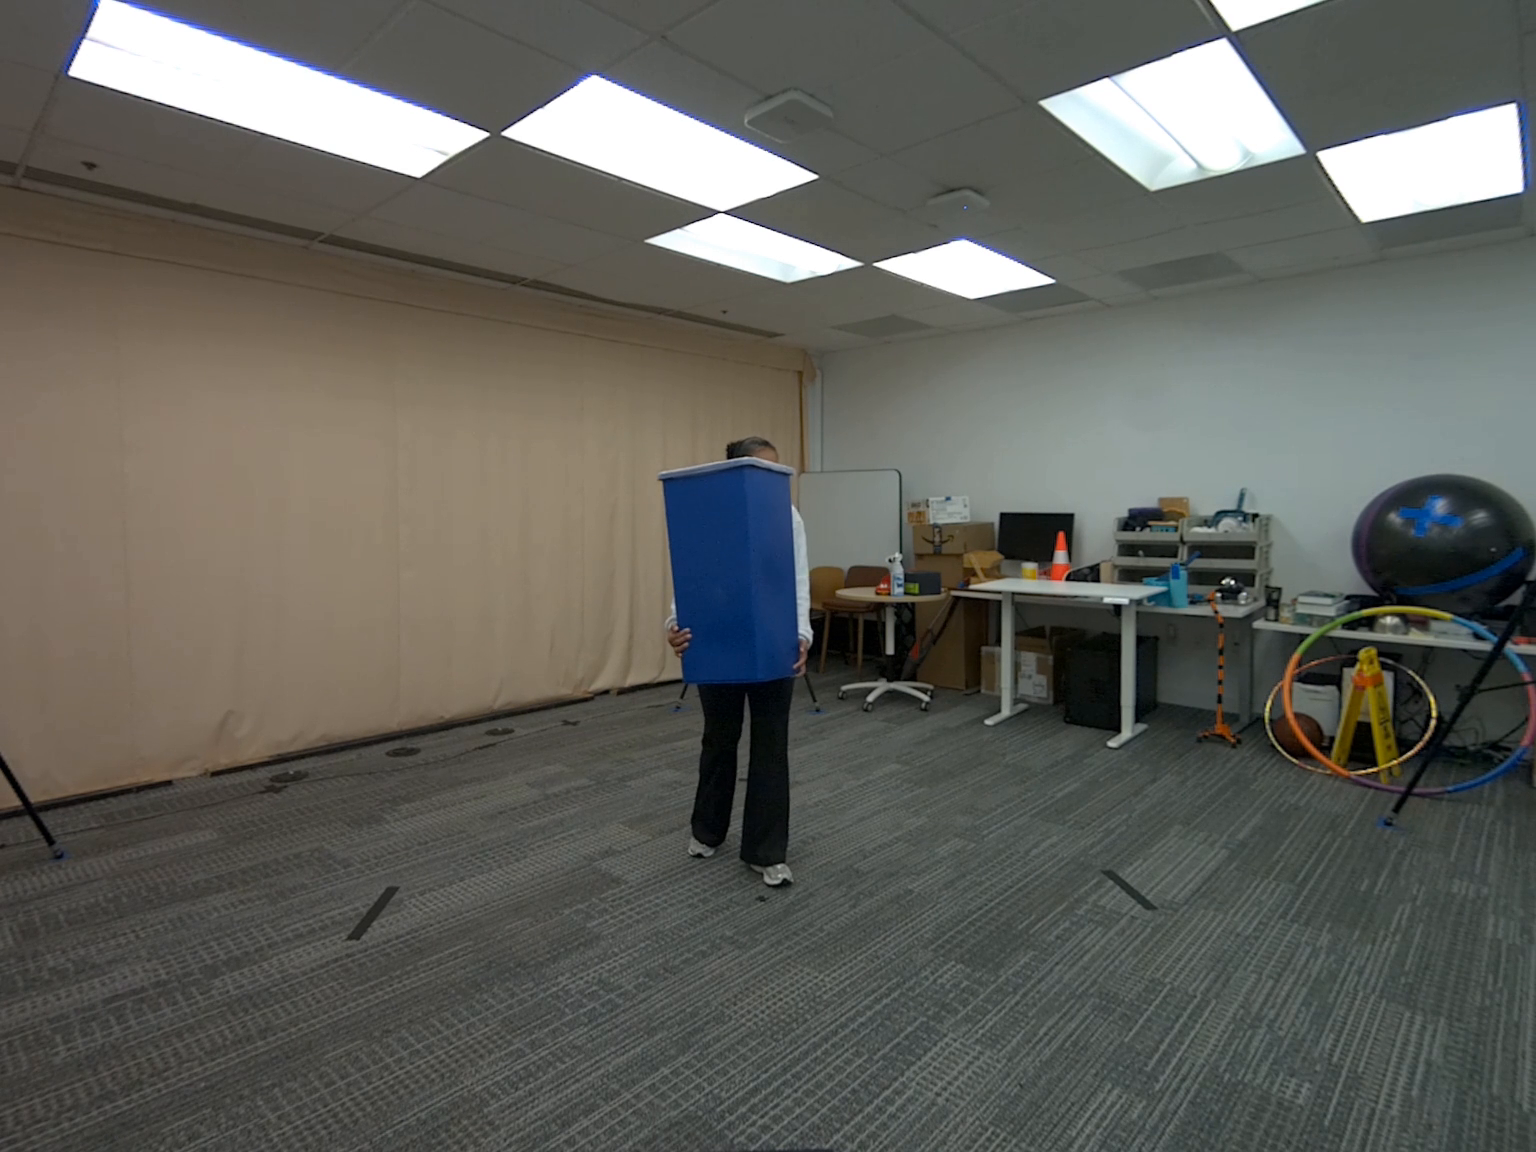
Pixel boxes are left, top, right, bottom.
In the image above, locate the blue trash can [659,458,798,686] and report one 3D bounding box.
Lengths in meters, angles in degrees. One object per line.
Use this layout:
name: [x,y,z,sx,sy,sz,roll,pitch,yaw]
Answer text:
blue trash can: [-0.115,-0.008,2.884,0.384,0.716,0.367,-6,-5,28]
